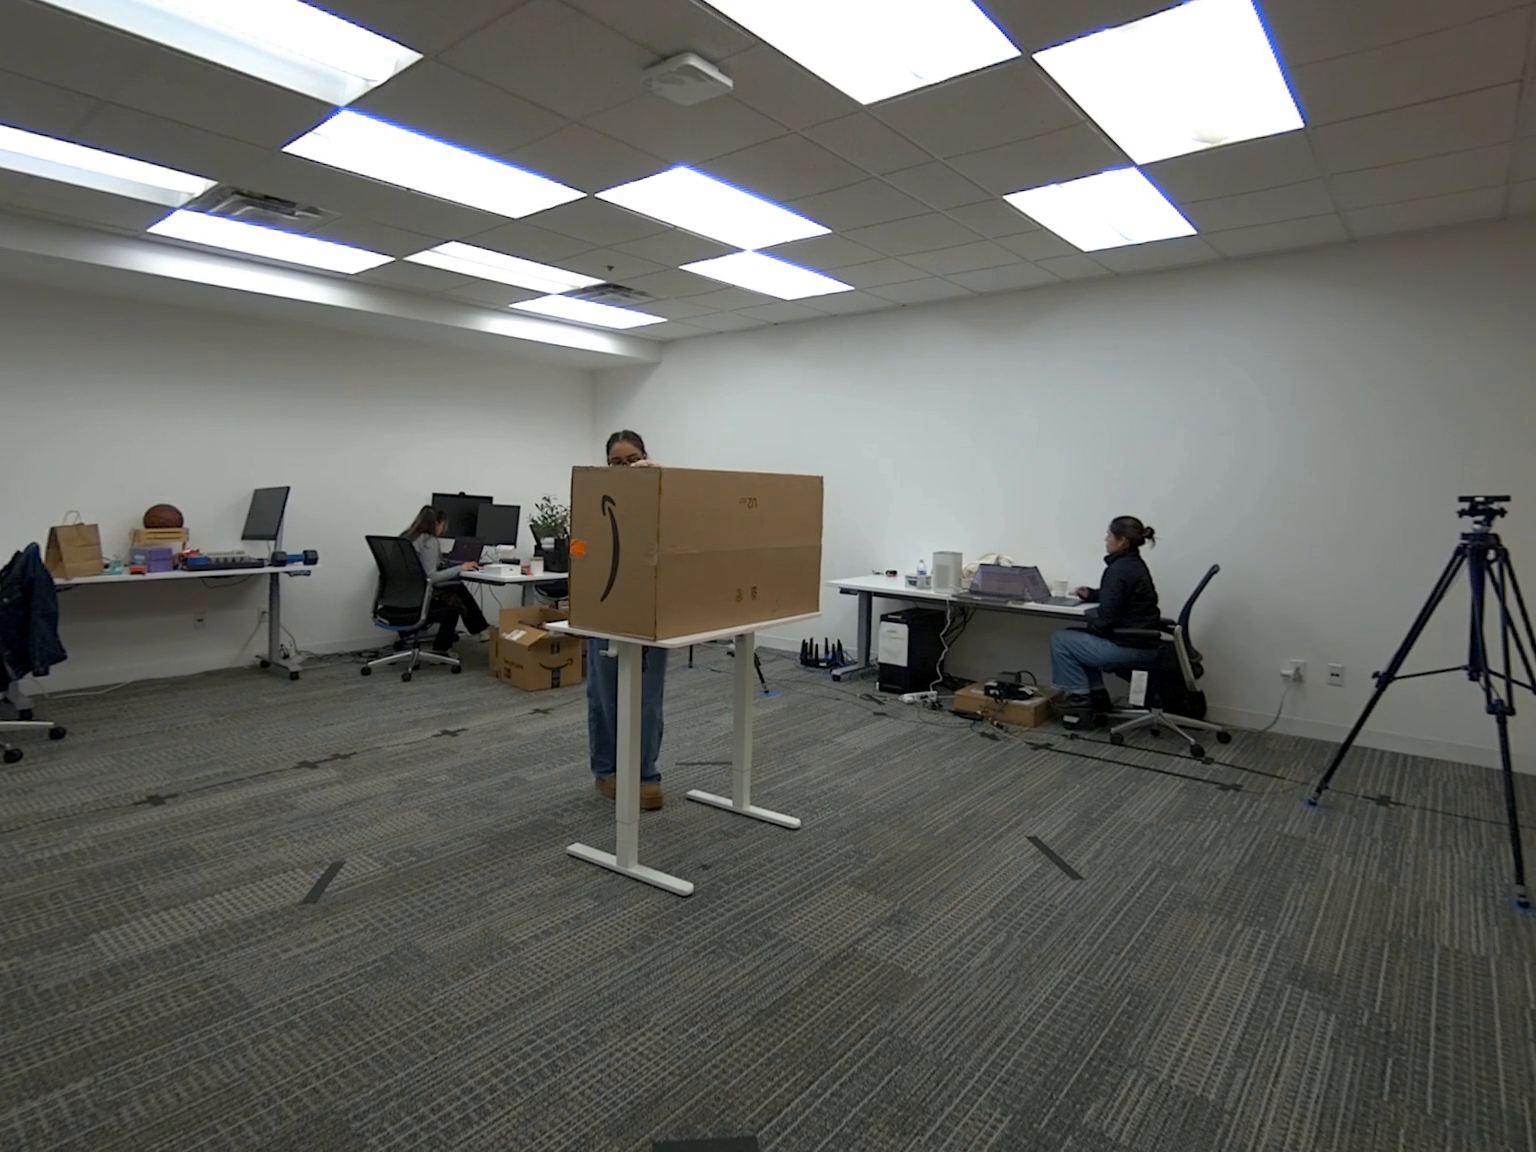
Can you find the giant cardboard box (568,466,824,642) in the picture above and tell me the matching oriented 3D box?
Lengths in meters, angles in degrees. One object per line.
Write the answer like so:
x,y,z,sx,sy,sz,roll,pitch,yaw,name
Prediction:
-0.250,-0.117,3.295,0.440,0.575,0.996,5,6,36,giant cardboard box
